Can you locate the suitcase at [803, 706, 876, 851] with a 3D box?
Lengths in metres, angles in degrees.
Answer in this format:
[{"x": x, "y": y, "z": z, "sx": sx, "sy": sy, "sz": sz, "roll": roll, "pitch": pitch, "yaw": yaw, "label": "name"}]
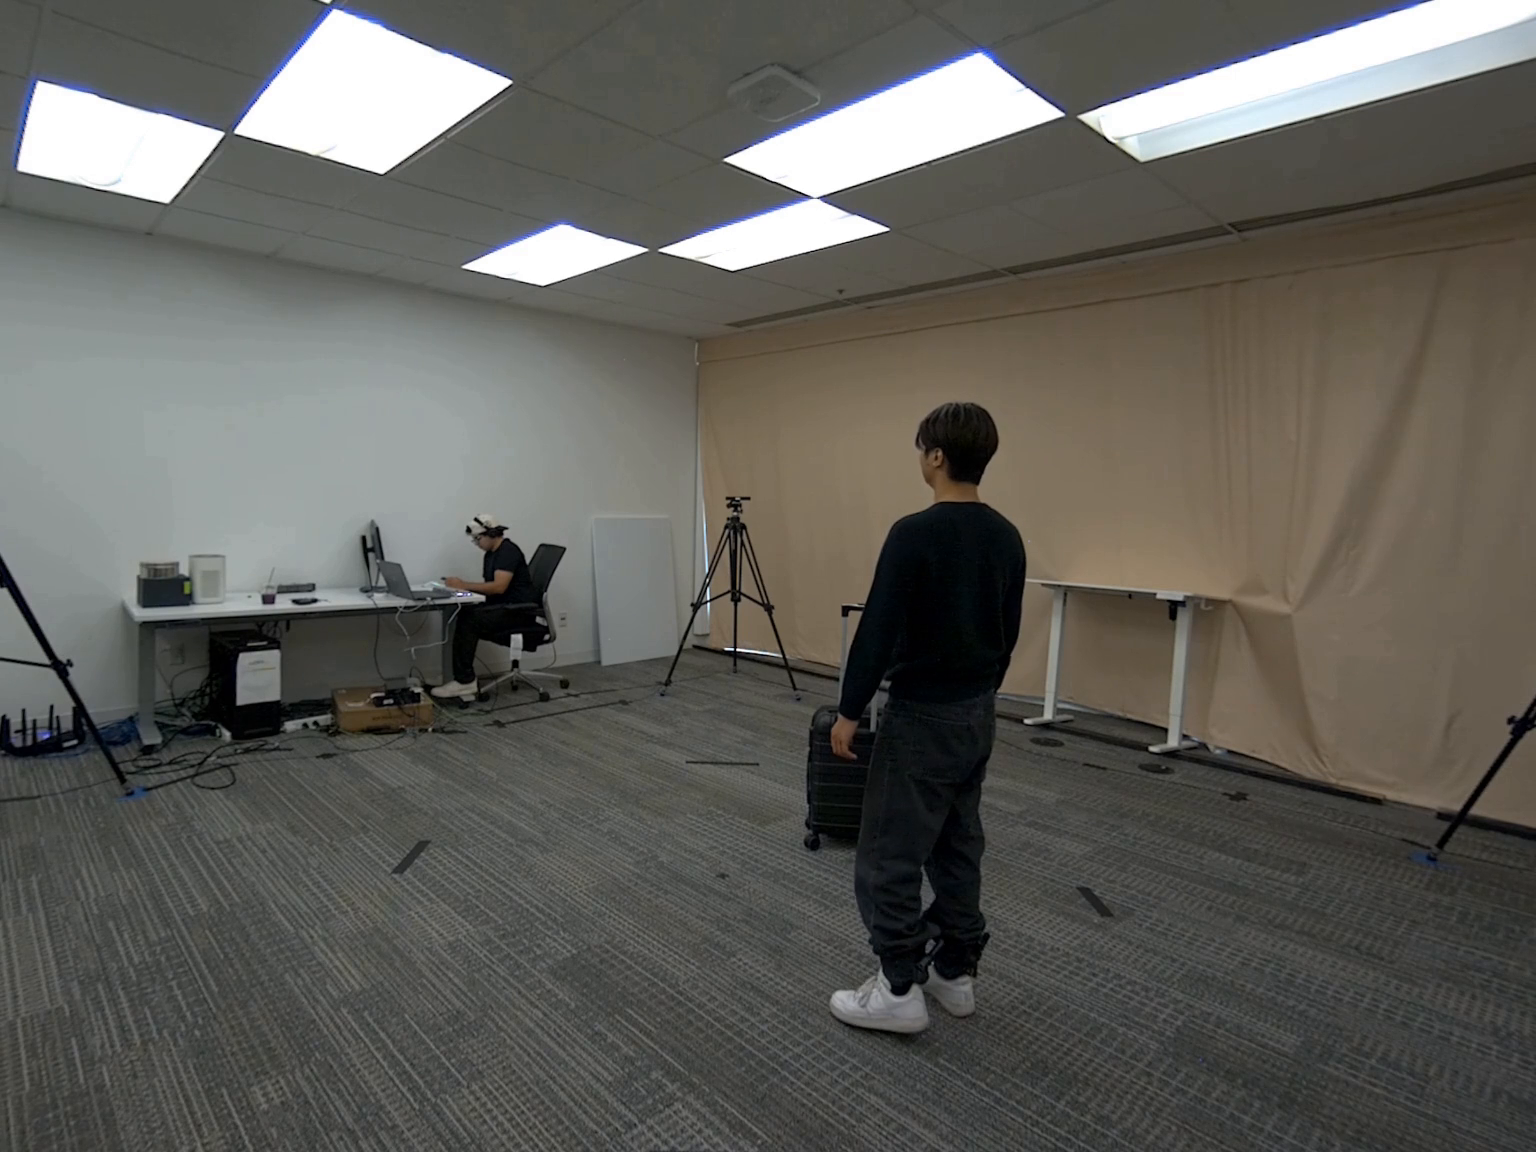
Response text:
[{"x": 0.350, "y": 0.613, "z": 3.457, "sx": 0.386, "sy": 0.979, "sz": 0.255, "roll": 3, "pitch": 0, "yaw": 6, "label": "suitcase"}]
